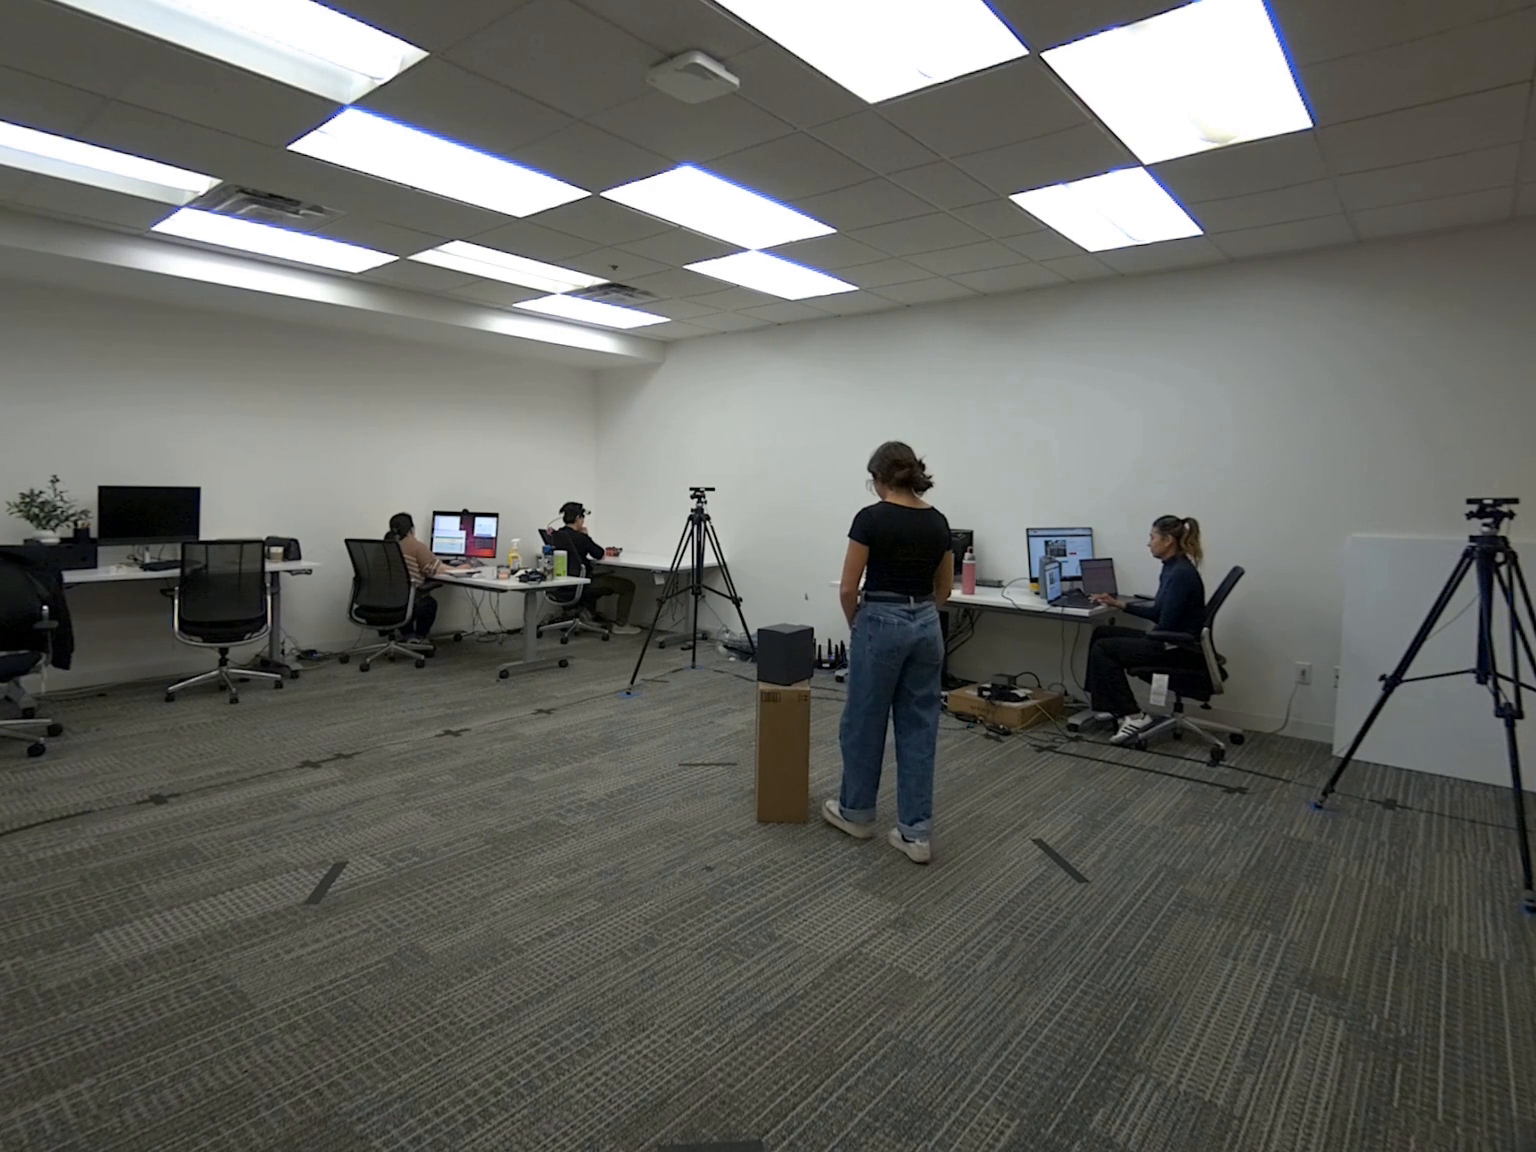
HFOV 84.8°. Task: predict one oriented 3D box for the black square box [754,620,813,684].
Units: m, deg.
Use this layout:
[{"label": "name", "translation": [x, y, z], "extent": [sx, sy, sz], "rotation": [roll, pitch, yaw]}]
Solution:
[{"label": "black square box", "translation": [0.067, 0.329, 3.706], "extent": [0.161, 0.227, 0.211], "rotation": [3, 5, 38]}]
